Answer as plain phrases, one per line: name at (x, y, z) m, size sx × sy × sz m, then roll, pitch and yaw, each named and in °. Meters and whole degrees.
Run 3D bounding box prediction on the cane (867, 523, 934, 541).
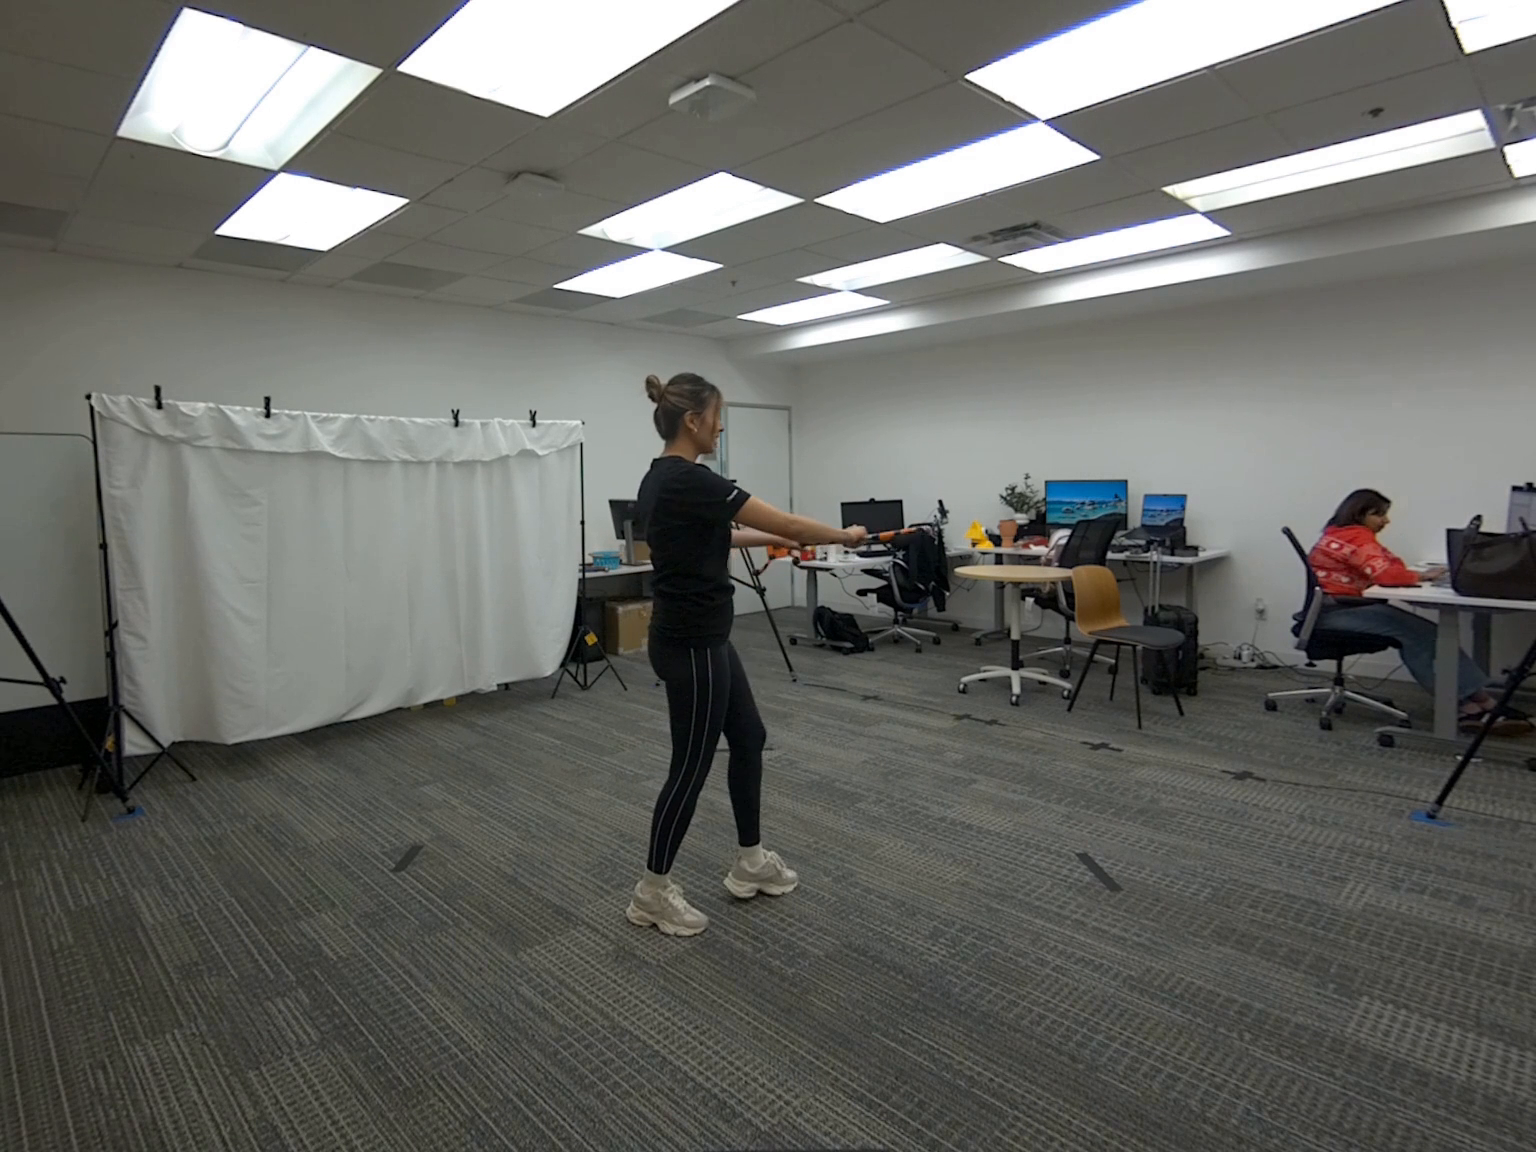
cane at (0.237, -0.097, 2.813) m, size 0.203 × 0.151 × 0.926 m, roll -14°, pitch 6°, yaw -25°
